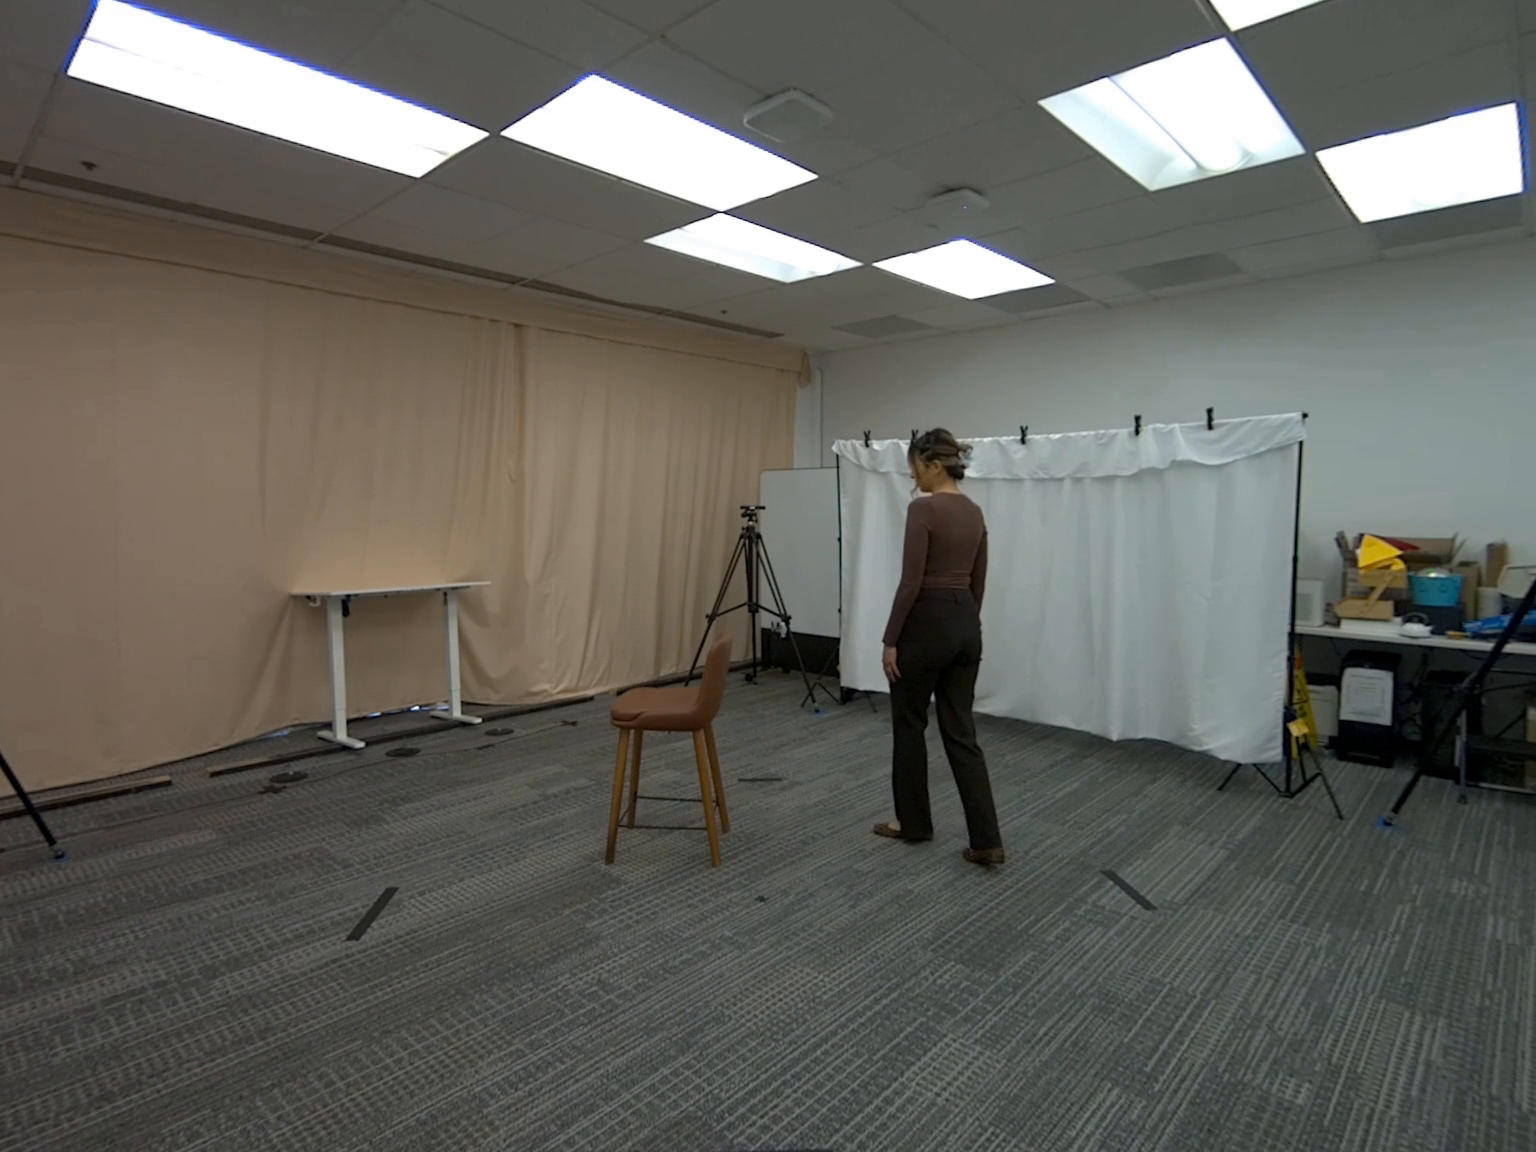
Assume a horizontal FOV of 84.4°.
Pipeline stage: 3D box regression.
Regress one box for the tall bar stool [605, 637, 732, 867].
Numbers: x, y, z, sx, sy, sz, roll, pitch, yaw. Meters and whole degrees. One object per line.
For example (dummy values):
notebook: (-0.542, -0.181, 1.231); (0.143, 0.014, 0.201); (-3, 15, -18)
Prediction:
tall bar stool: (-0.395, 0.672, 3.438); (0.471, 0.888, 0.454); (2, 3, 5)
